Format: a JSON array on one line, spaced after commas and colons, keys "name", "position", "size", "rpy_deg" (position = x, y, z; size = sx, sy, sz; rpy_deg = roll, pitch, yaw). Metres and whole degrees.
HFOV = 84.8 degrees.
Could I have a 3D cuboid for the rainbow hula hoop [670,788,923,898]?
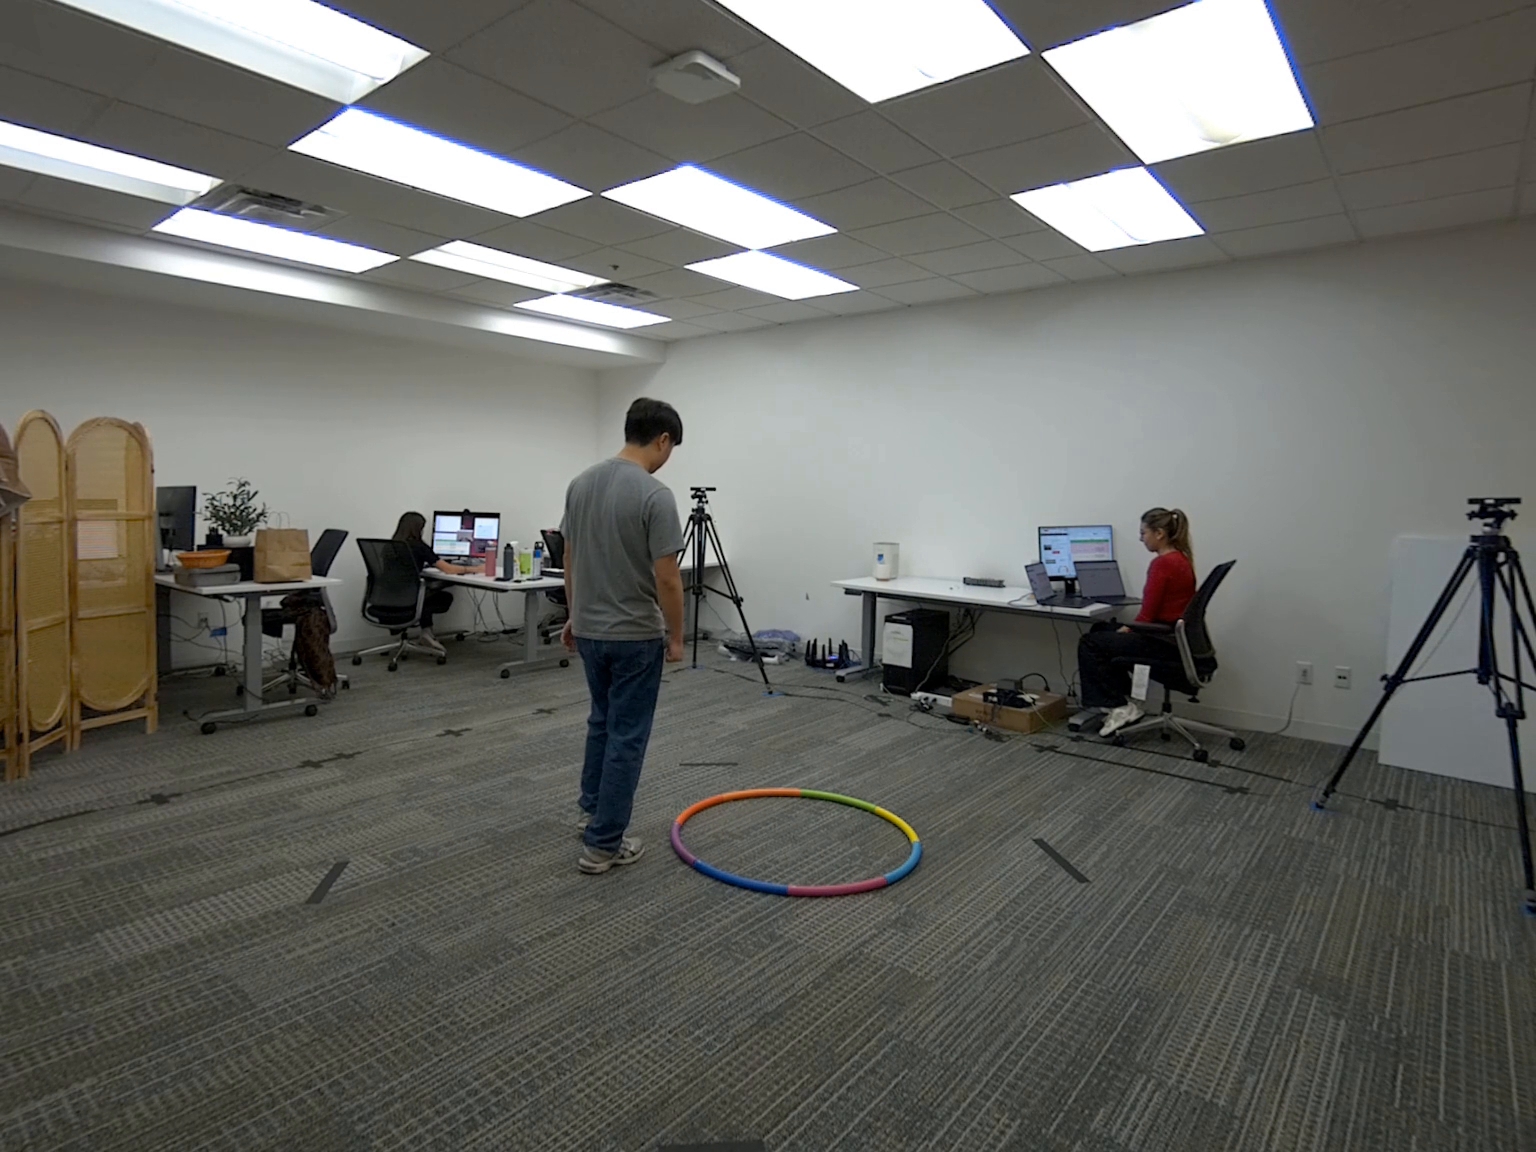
[{"name": "rainbow hula hoop", "position": [0.094, 1.017, 3.380], "size": [0.978, 0.035, 0.984], "rpy_deg": [1, 6, -2]}]
